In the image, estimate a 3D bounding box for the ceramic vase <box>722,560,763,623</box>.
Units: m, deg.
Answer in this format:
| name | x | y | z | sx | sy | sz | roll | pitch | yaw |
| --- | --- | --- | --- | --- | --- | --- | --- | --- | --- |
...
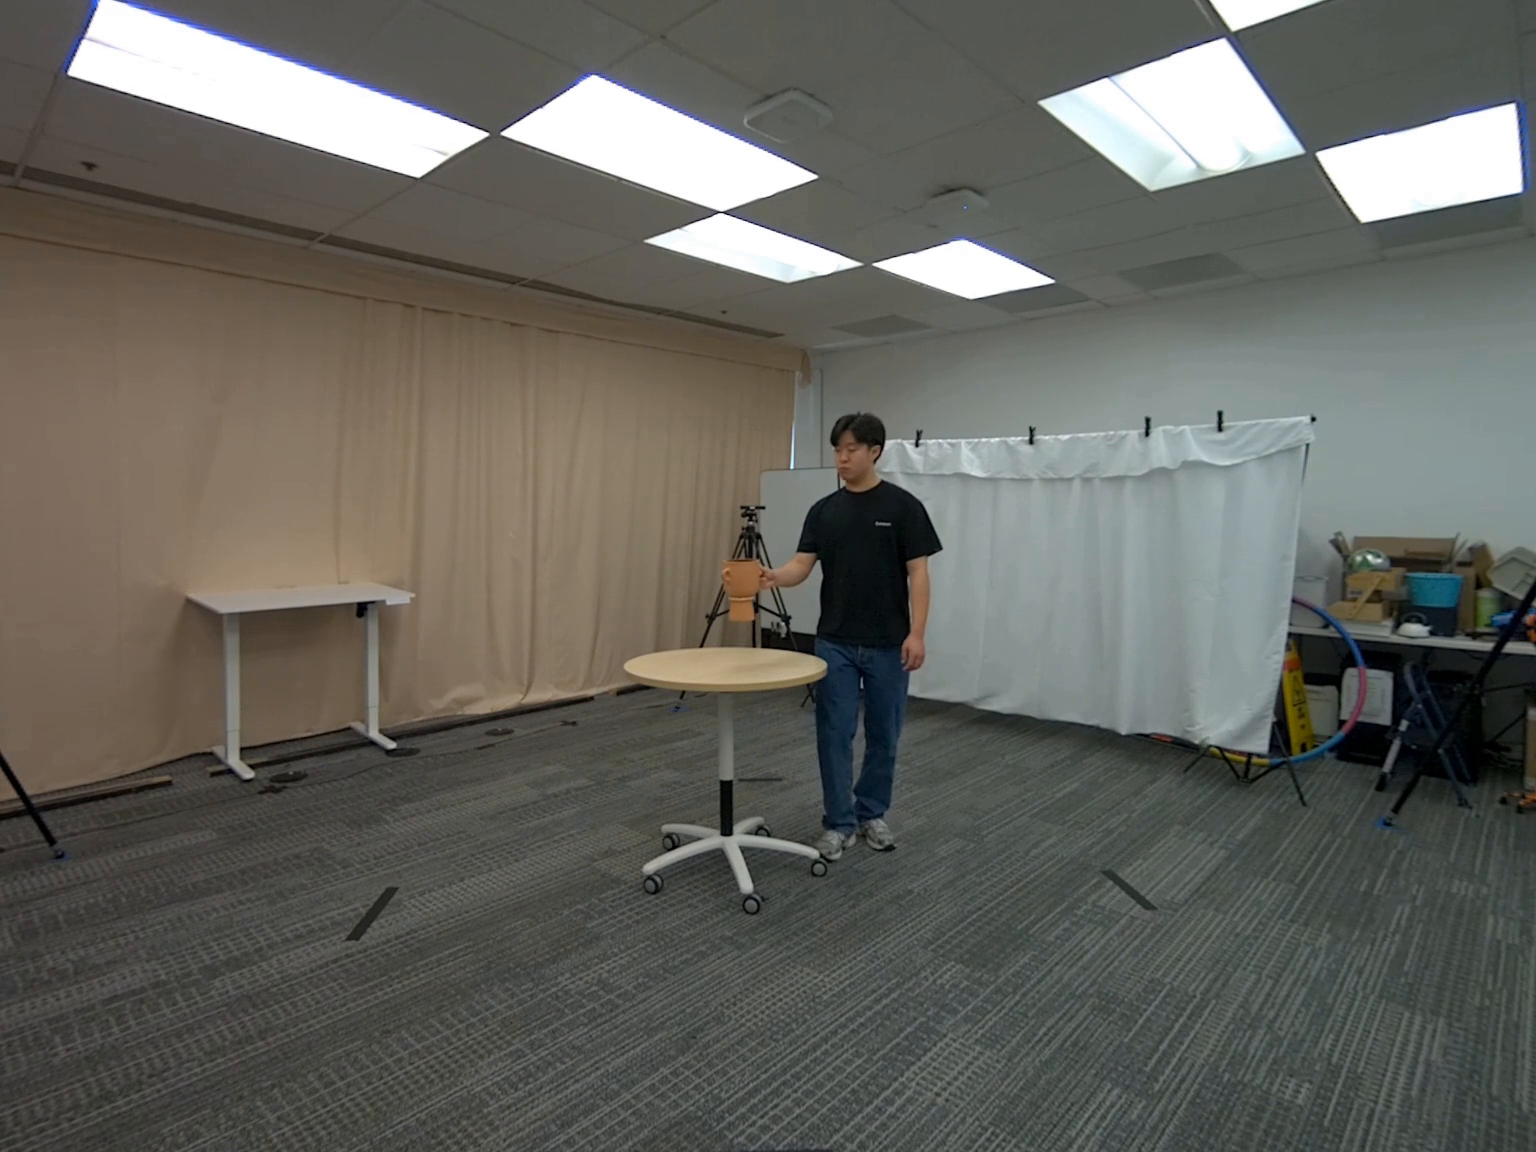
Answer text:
| name | x | y | z | sx | sy | sz | roll | pitch | yaw |
| --- | --- | --- | --- | --- | --- | --- | --- | --- | --- |
| ceramic vase | -0.100 | 0.058 | 3.122 | 0.158 | 0.219 | 0.136 | -2 | 2 | -8 |
